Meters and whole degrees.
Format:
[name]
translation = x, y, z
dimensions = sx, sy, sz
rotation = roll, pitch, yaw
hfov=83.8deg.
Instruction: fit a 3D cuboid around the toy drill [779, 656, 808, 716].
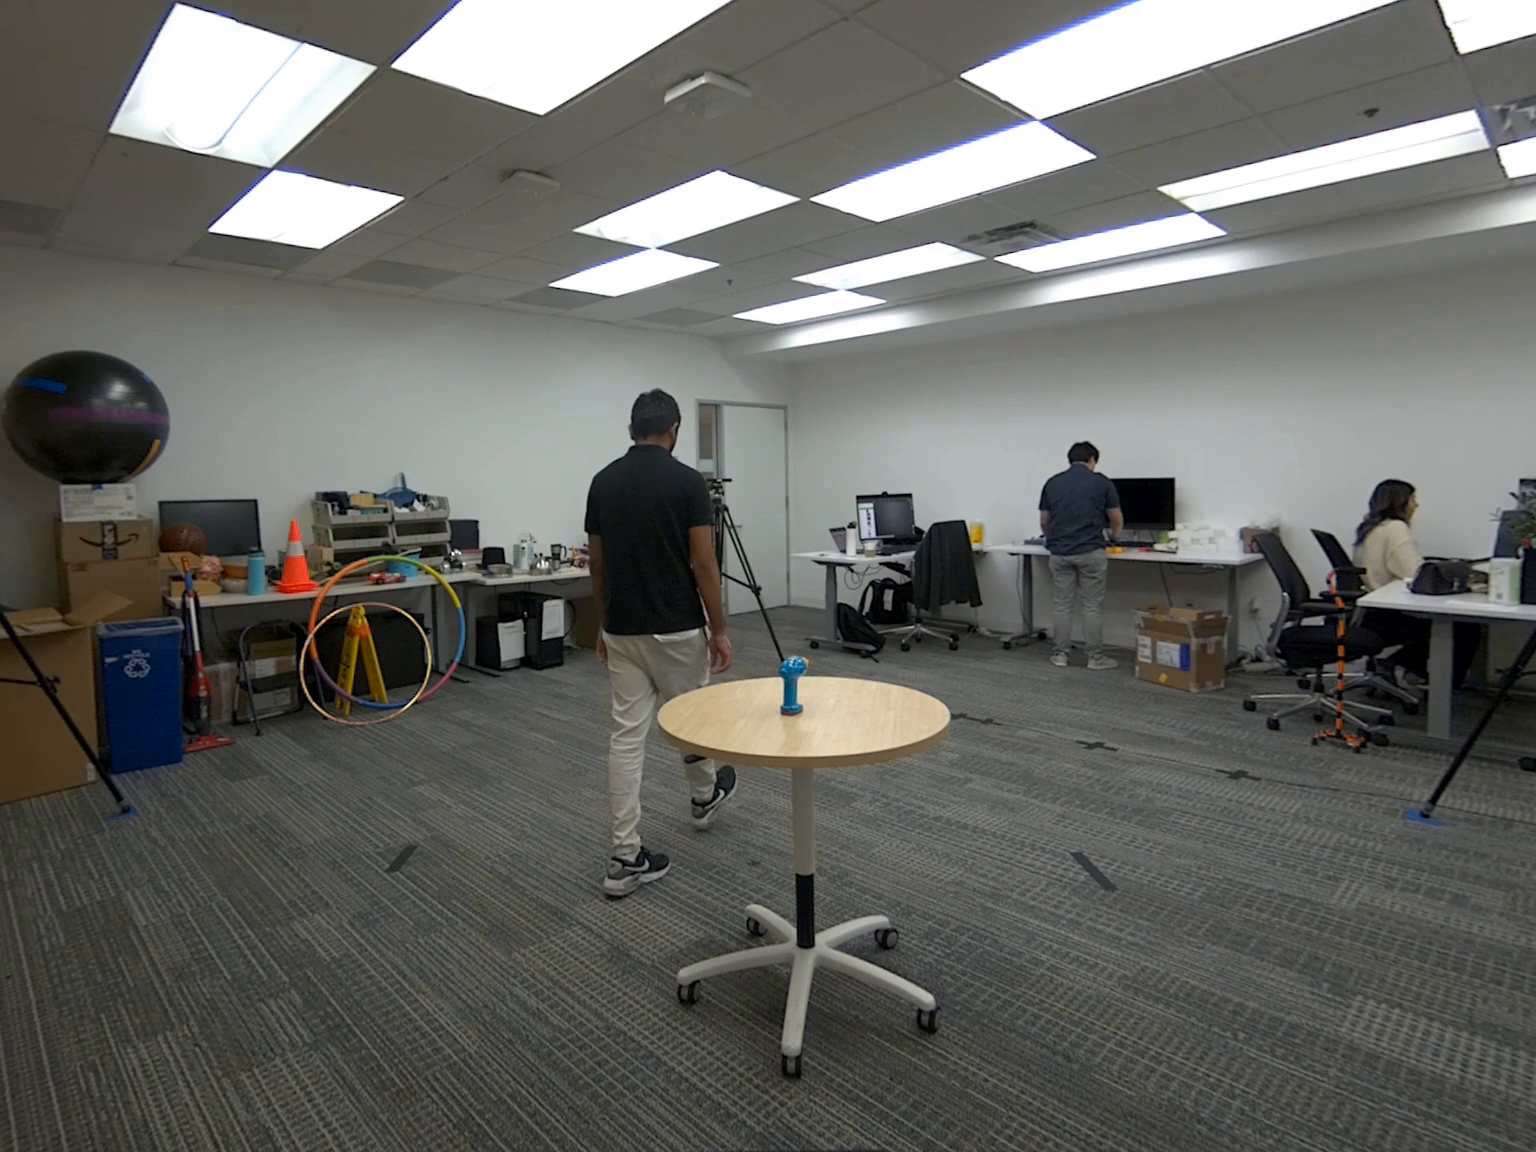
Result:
[toy drill]
translation = 0.081, 0.282, 2.278
dimensions = 0.062, 0.145, 0.167
rotation = 0, 5, 20
